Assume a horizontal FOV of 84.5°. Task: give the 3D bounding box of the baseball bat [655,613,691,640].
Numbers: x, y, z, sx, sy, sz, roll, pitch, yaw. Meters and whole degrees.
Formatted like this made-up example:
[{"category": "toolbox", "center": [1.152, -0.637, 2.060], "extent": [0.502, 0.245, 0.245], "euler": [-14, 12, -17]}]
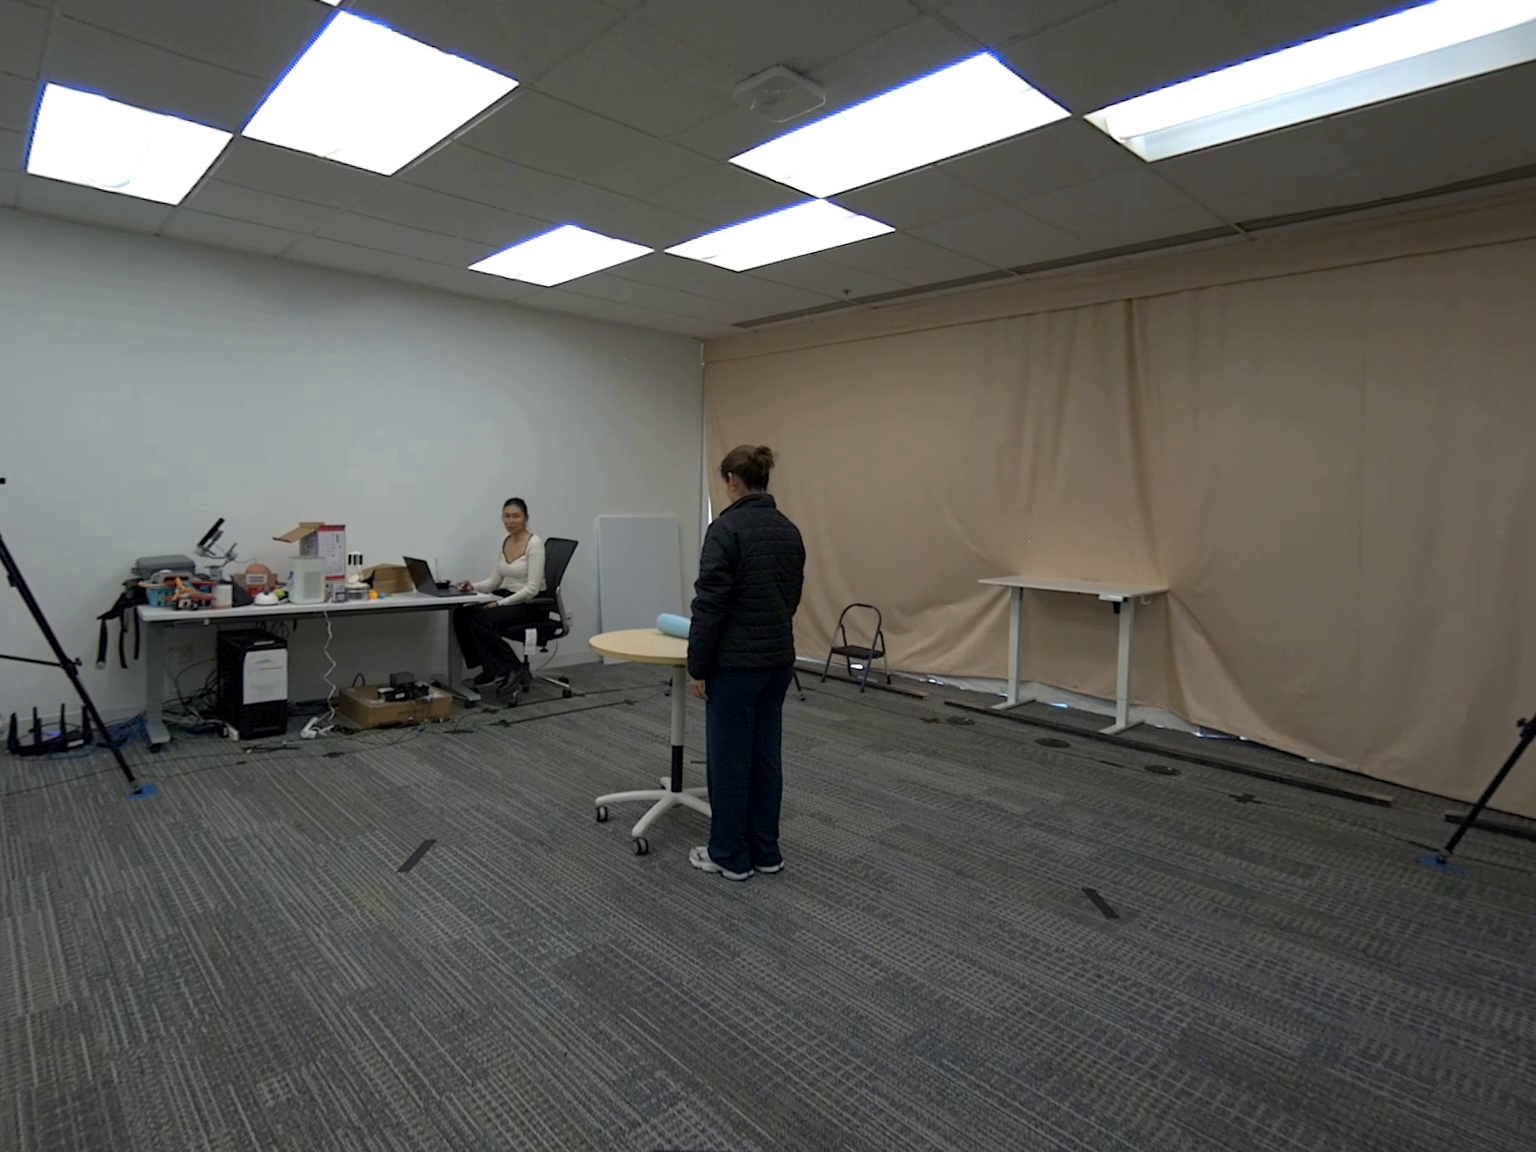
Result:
[{"category": "baseball bat", "center": [-0.281, 0.247, 3.572], "extent": [0.087, 0.088, 0.558], "euler": [-3, 9, -44]}]
